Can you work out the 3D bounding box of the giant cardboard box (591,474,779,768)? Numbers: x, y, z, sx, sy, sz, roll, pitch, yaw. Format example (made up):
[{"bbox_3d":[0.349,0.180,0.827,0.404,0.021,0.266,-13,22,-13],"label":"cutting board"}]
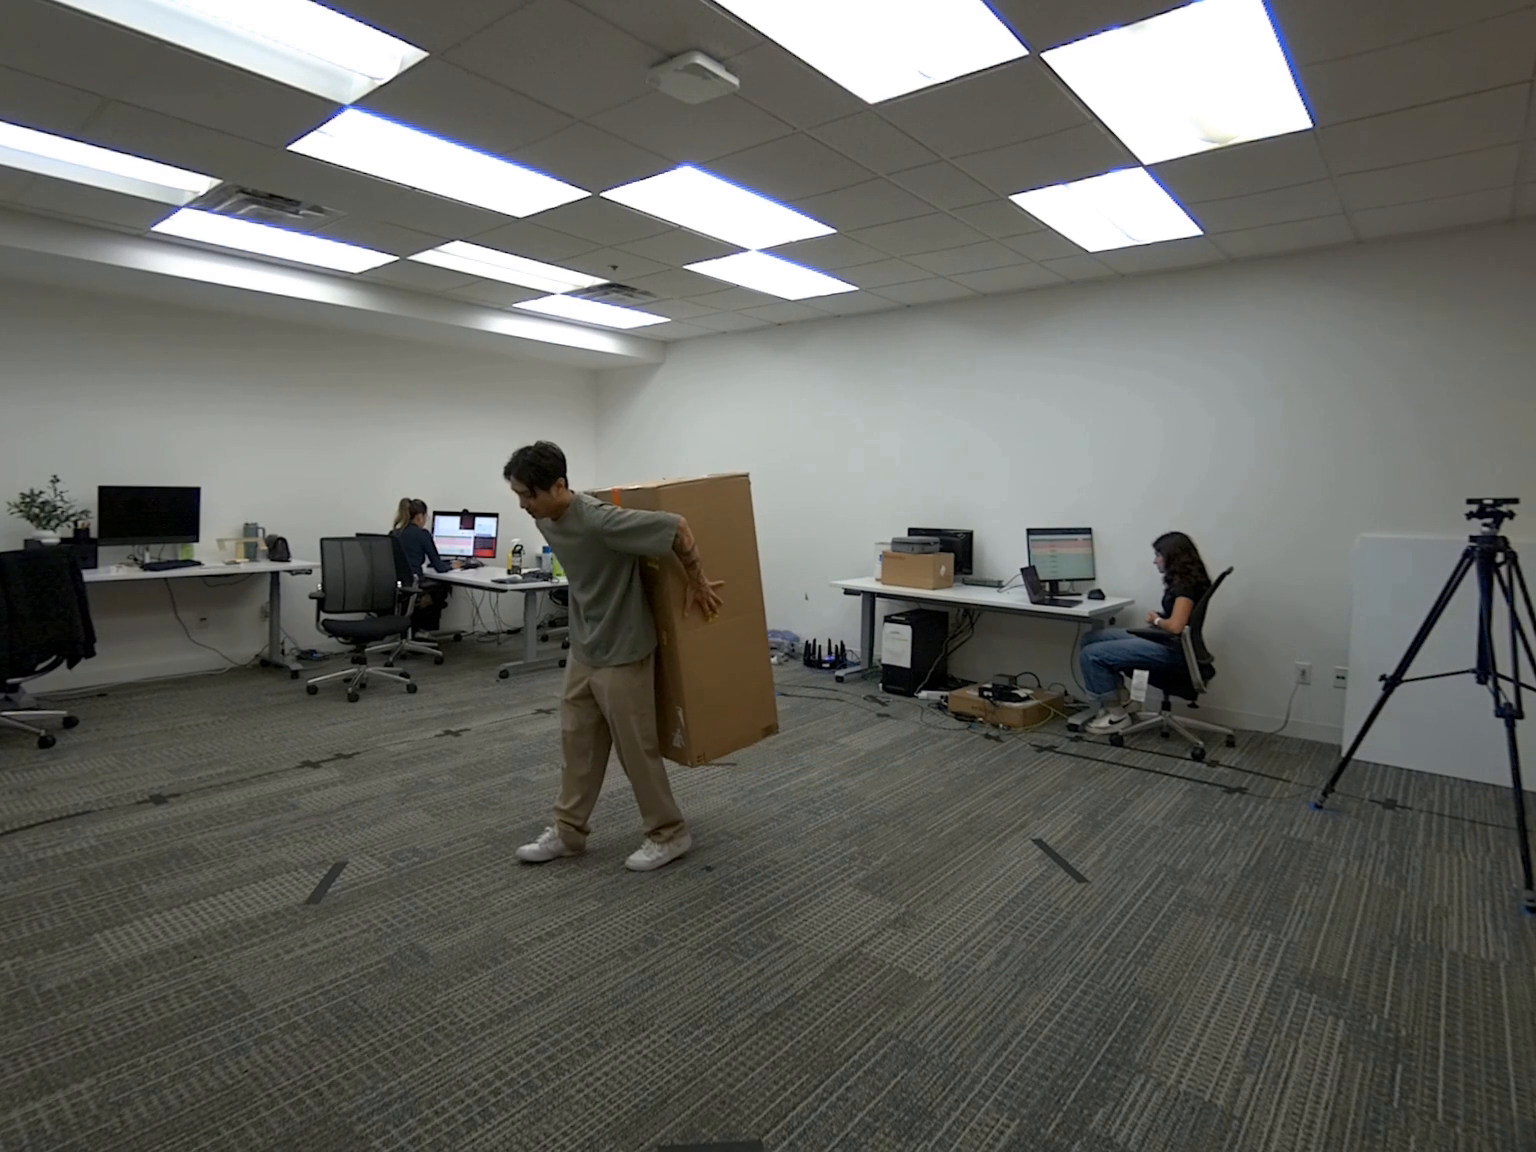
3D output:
[{"bbox_3d":[-0.361,0.138,3.345,0.416,1.019,0.596,-11,8,-38],"label":"giant cardboard box"}]
